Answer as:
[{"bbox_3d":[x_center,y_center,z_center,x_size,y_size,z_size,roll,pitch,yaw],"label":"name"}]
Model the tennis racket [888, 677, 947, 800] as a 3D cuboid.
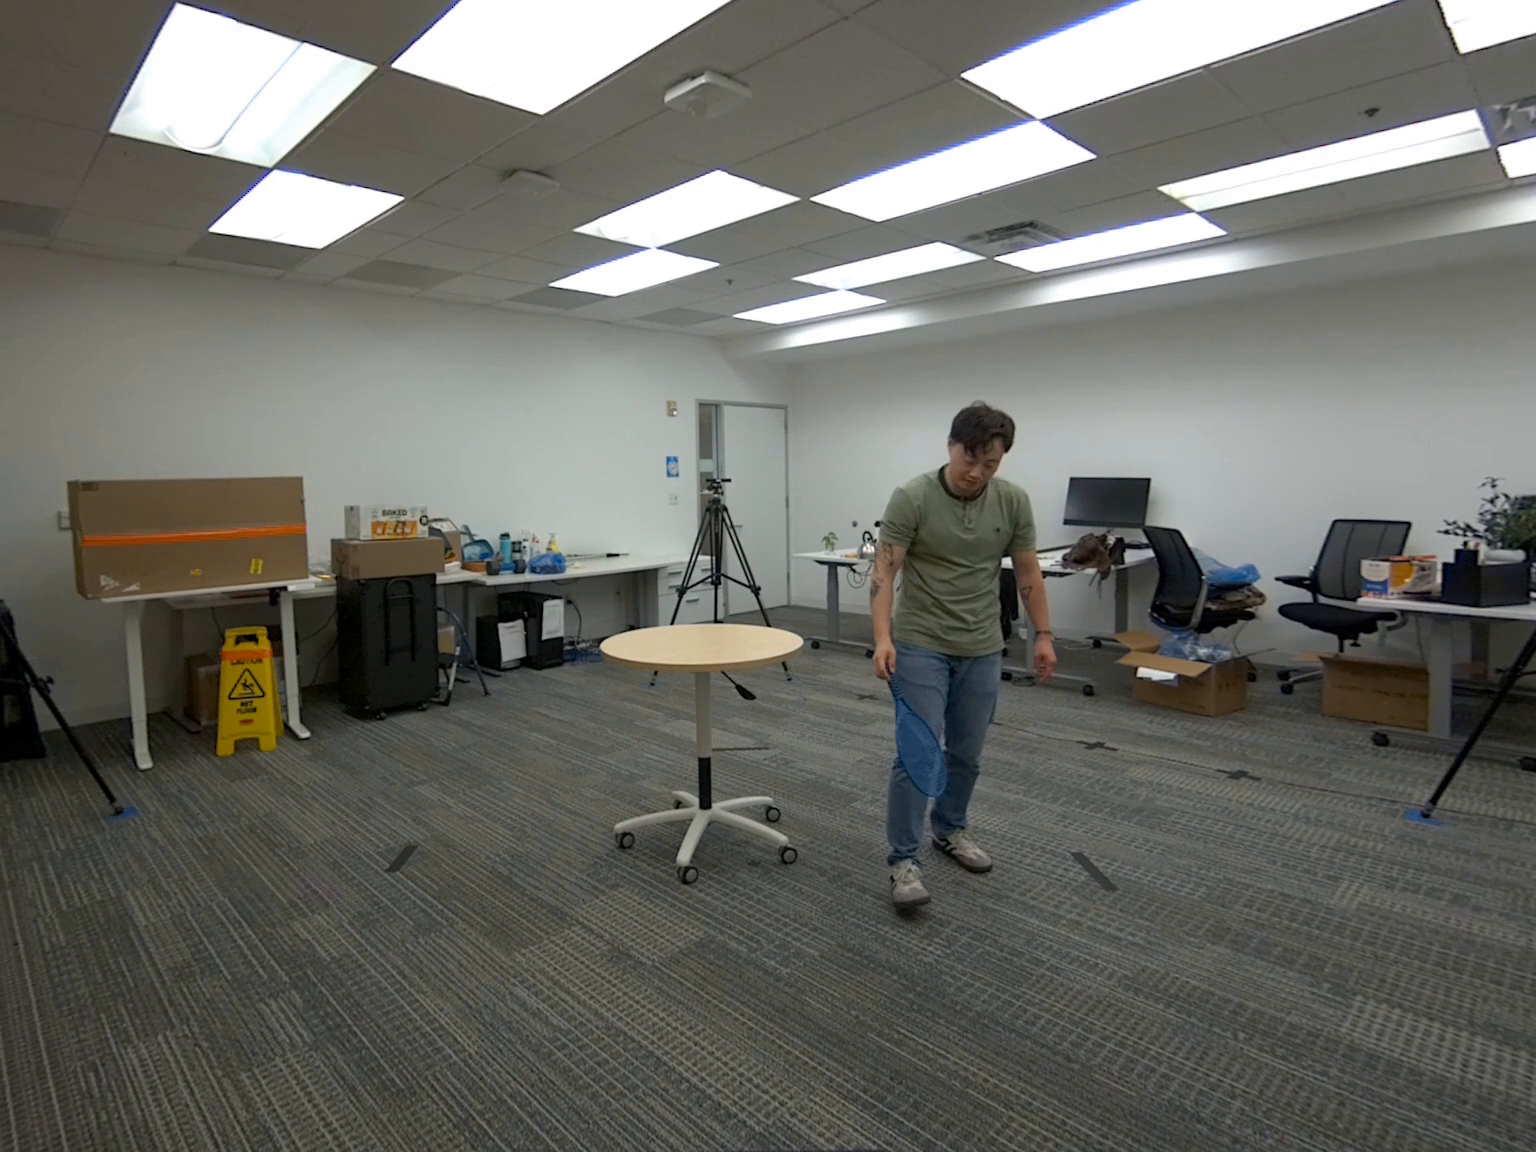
[{"bbox_3d":[0.443,0.471,2.689,0.032,0.439,0.208,-29,-16,39],"label":"tennis racket"}]
